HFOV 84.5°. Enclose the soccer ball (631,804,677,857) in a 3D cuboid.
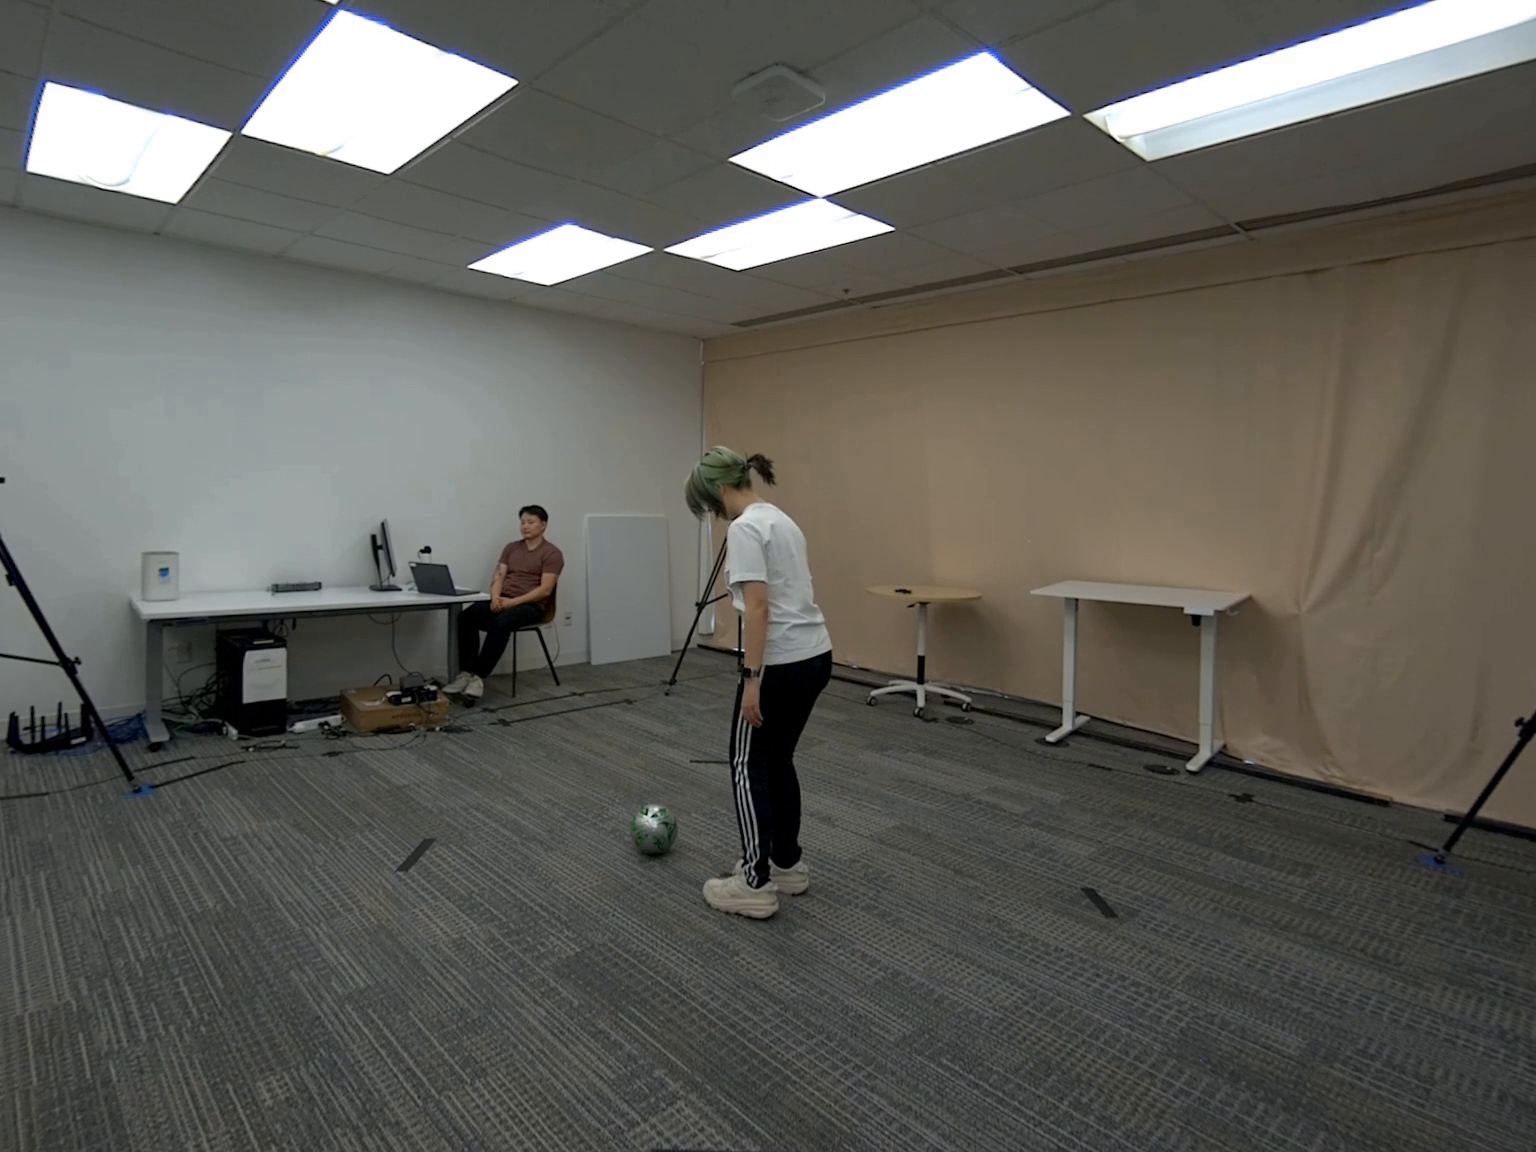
[{"bbox_3d":[-0.450,0.987,3.285,0.187,0.187,0.188,1,4,-1],"label":"soccer ball"}]
